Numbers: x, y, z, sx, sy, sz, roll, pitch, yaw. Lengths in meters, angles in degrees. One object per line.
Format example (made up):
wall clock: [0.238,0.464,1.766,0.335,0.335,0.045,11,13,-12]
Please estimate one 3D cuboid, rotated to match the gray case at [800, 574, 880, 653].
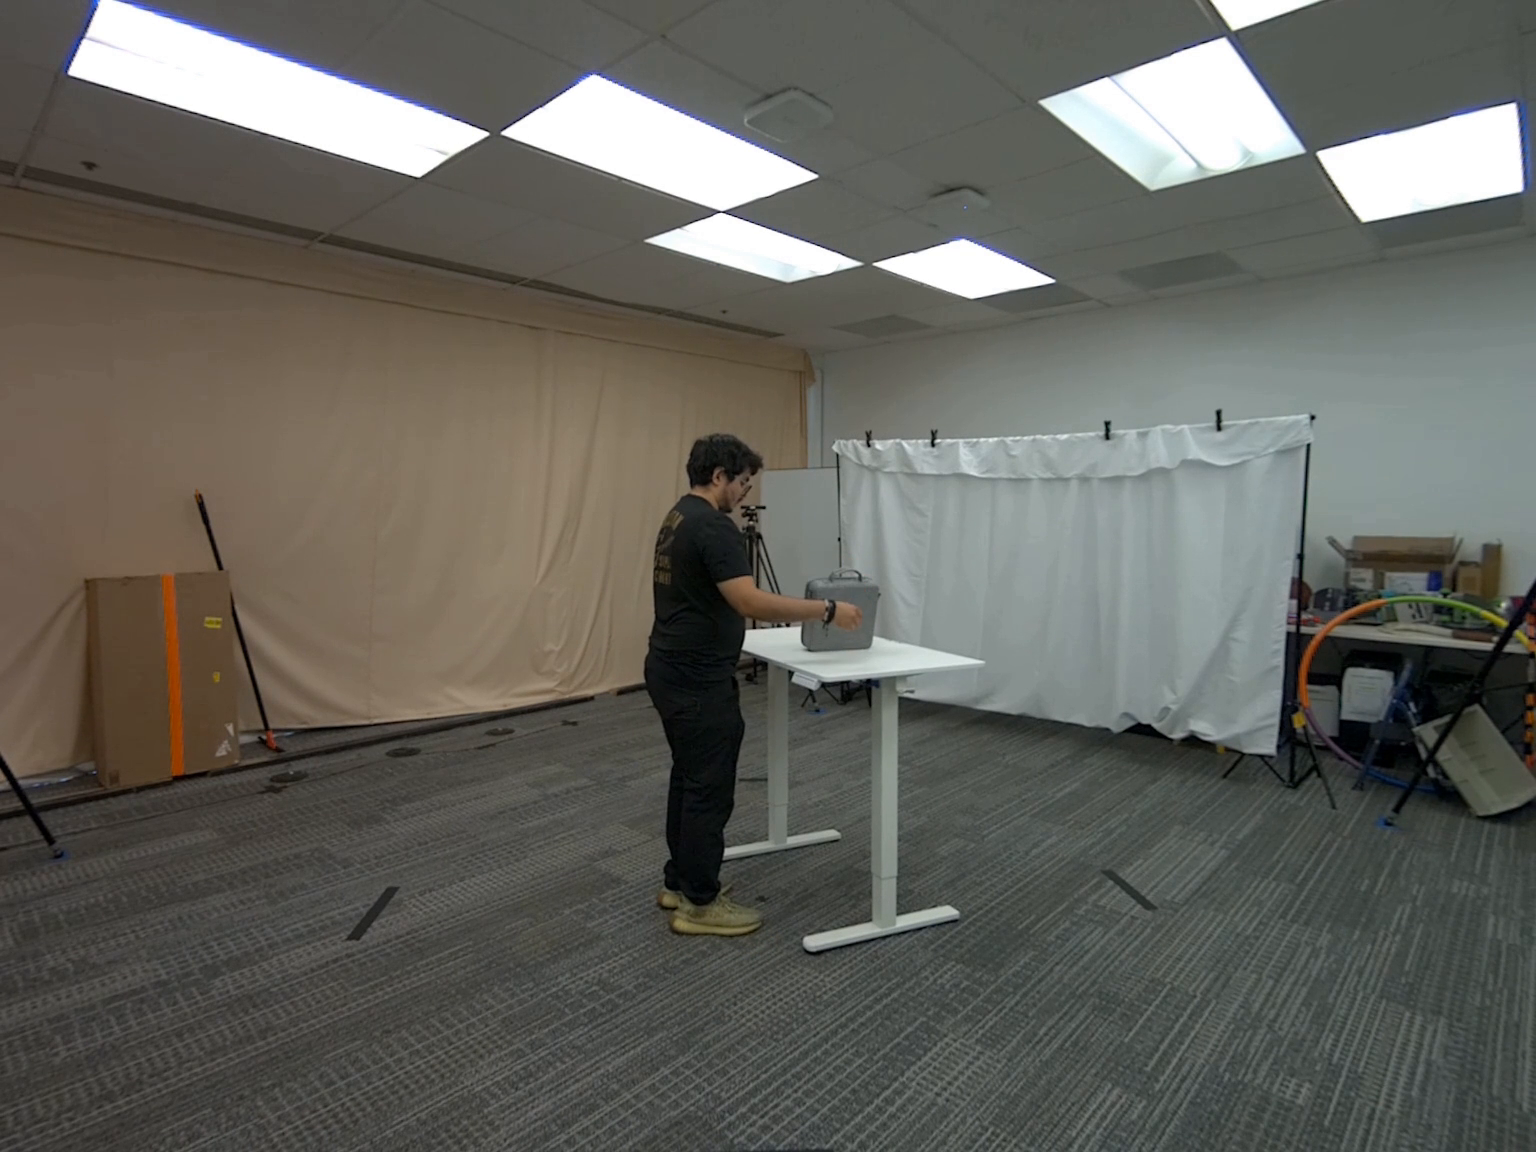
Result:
gray case: [0.259,0.128,2.950,0.252,0.259,0.107,0,12,-17]
